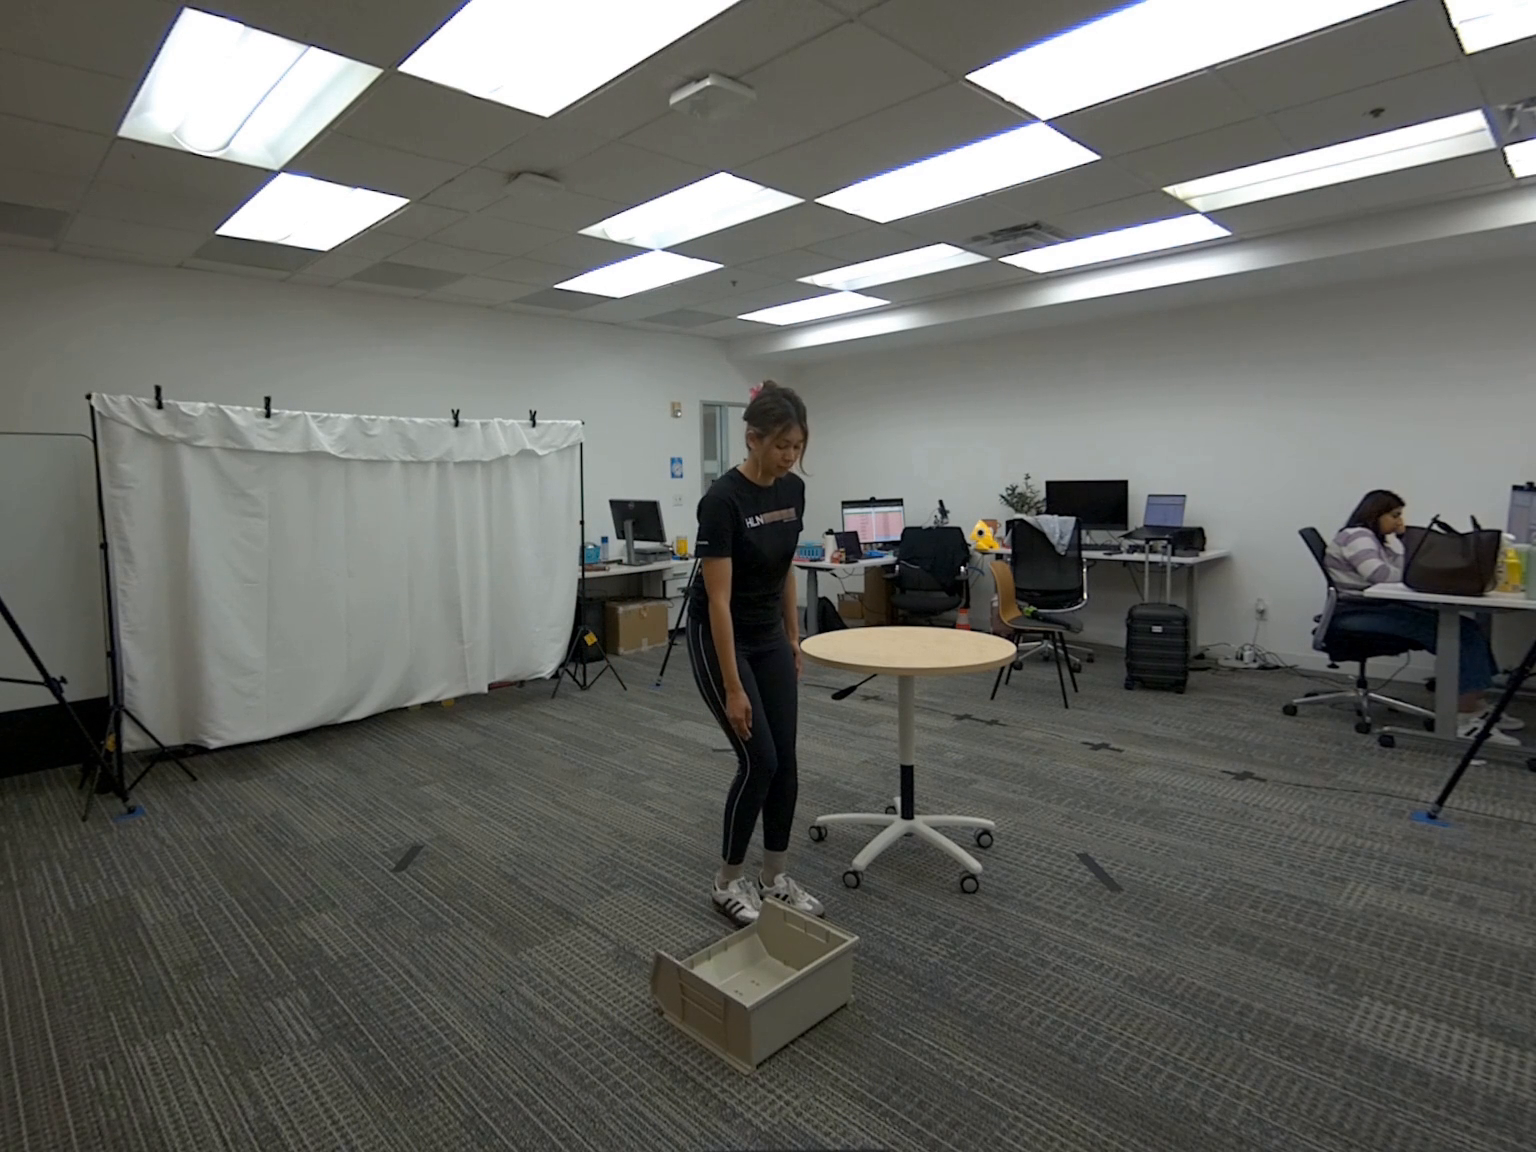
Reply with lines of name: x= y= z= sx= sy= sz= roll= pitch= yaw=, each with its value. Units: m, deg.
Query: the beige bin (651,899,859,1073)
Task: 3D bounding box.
beige bin: x=-0.029 y=1.058 z=2.268 sx=0.389 sy=0.188 sz=0.411 roll=6 pitch=8 yaw=45
